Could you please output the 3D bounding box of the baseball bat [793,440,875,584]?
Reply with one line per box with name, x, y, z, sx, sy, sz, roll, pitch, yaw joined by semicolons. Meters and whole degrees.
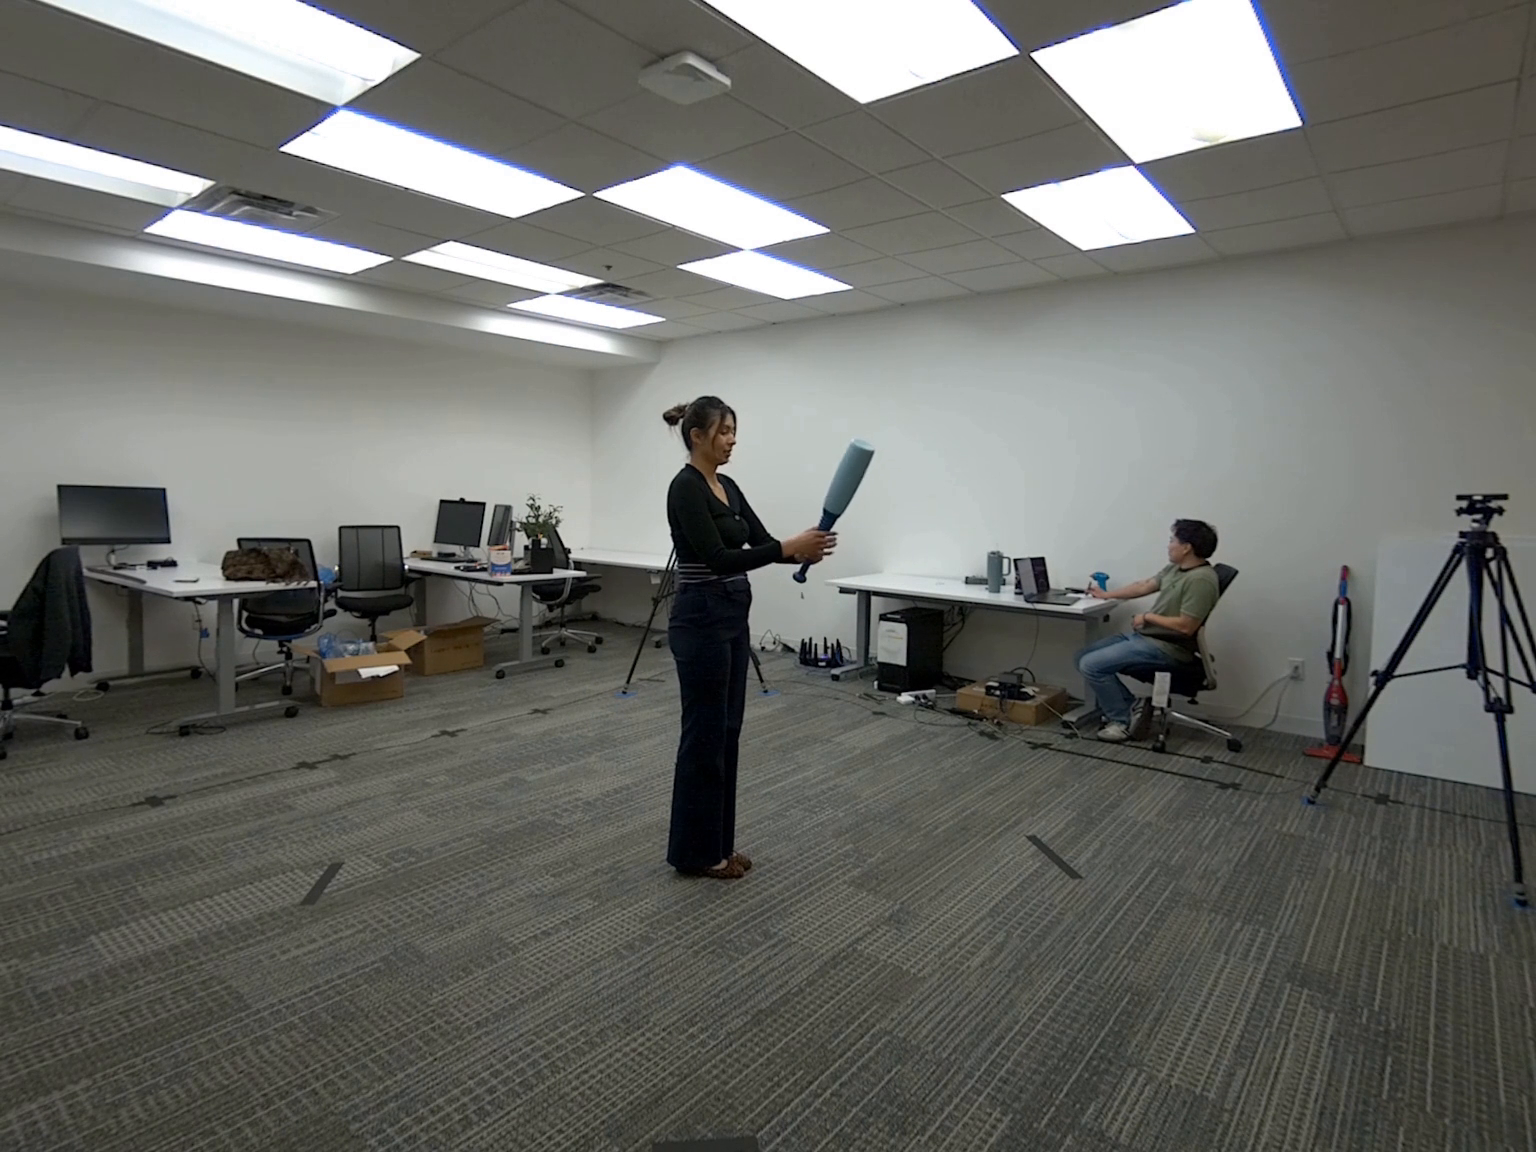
baseball bat;0.207;-0.198;2.839;0.088;0.537;0.091;19;26;-12
